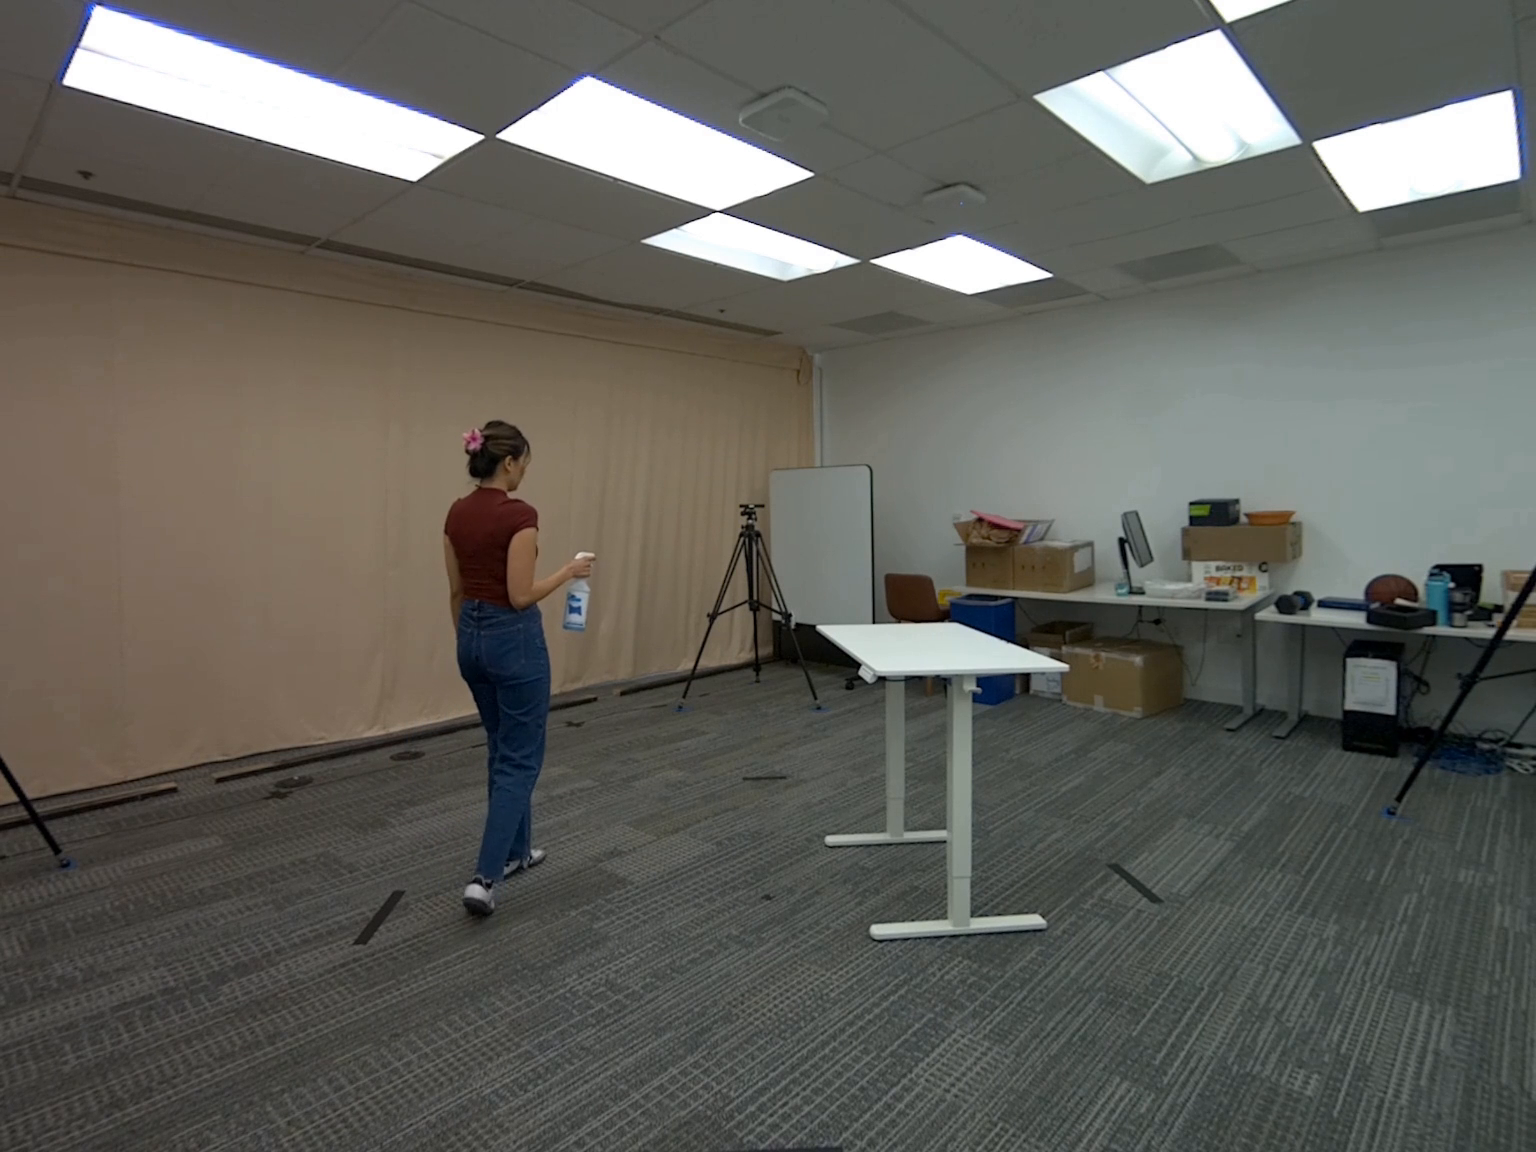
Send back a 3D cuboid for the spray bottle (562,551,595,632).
[{"bbox_3d":[-0.722,0.062,3.172,0.087,0.298,0.089,8,-3,-30],"label":"spray bottle"}]
